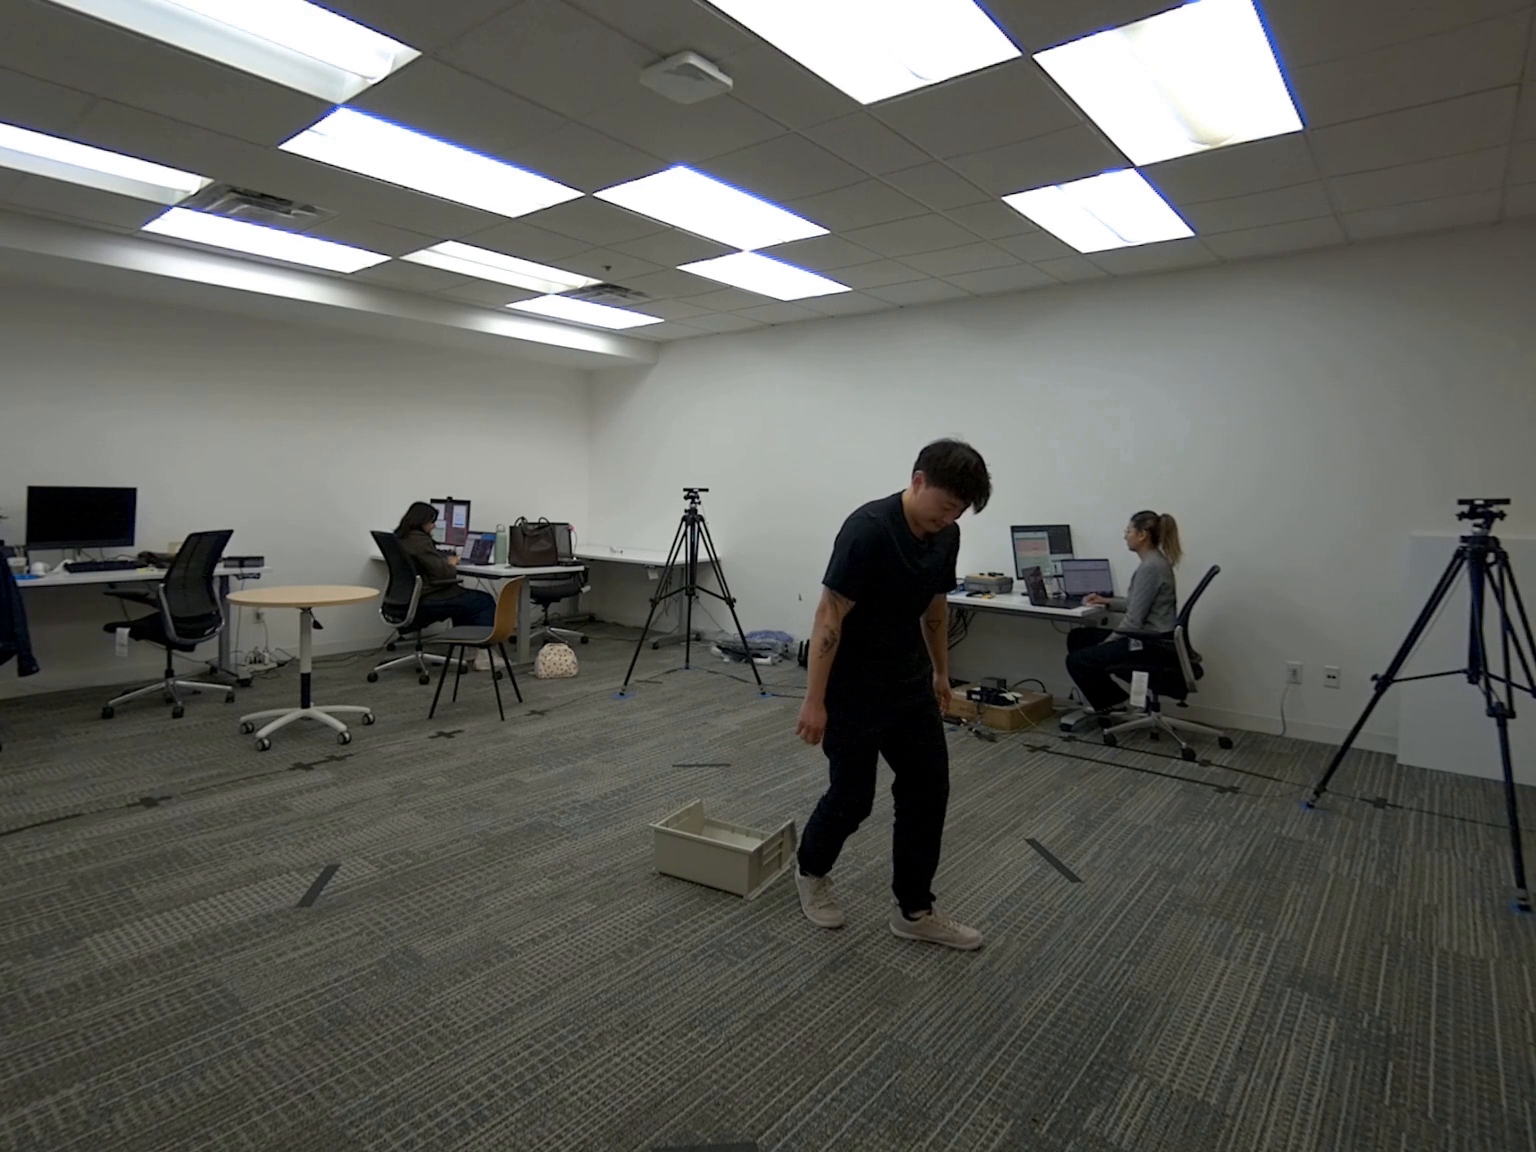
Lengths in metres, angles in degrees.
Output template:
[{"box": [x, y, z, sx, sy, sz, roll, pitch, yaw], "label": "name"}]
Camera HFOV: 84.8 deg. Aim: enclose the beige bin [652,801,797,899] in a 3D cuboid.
[{"box": [-0.168, 0.982, 3.120, 0.434, 0.188, 0.368, 4, 7, 28], "label": "beige bin"}]
